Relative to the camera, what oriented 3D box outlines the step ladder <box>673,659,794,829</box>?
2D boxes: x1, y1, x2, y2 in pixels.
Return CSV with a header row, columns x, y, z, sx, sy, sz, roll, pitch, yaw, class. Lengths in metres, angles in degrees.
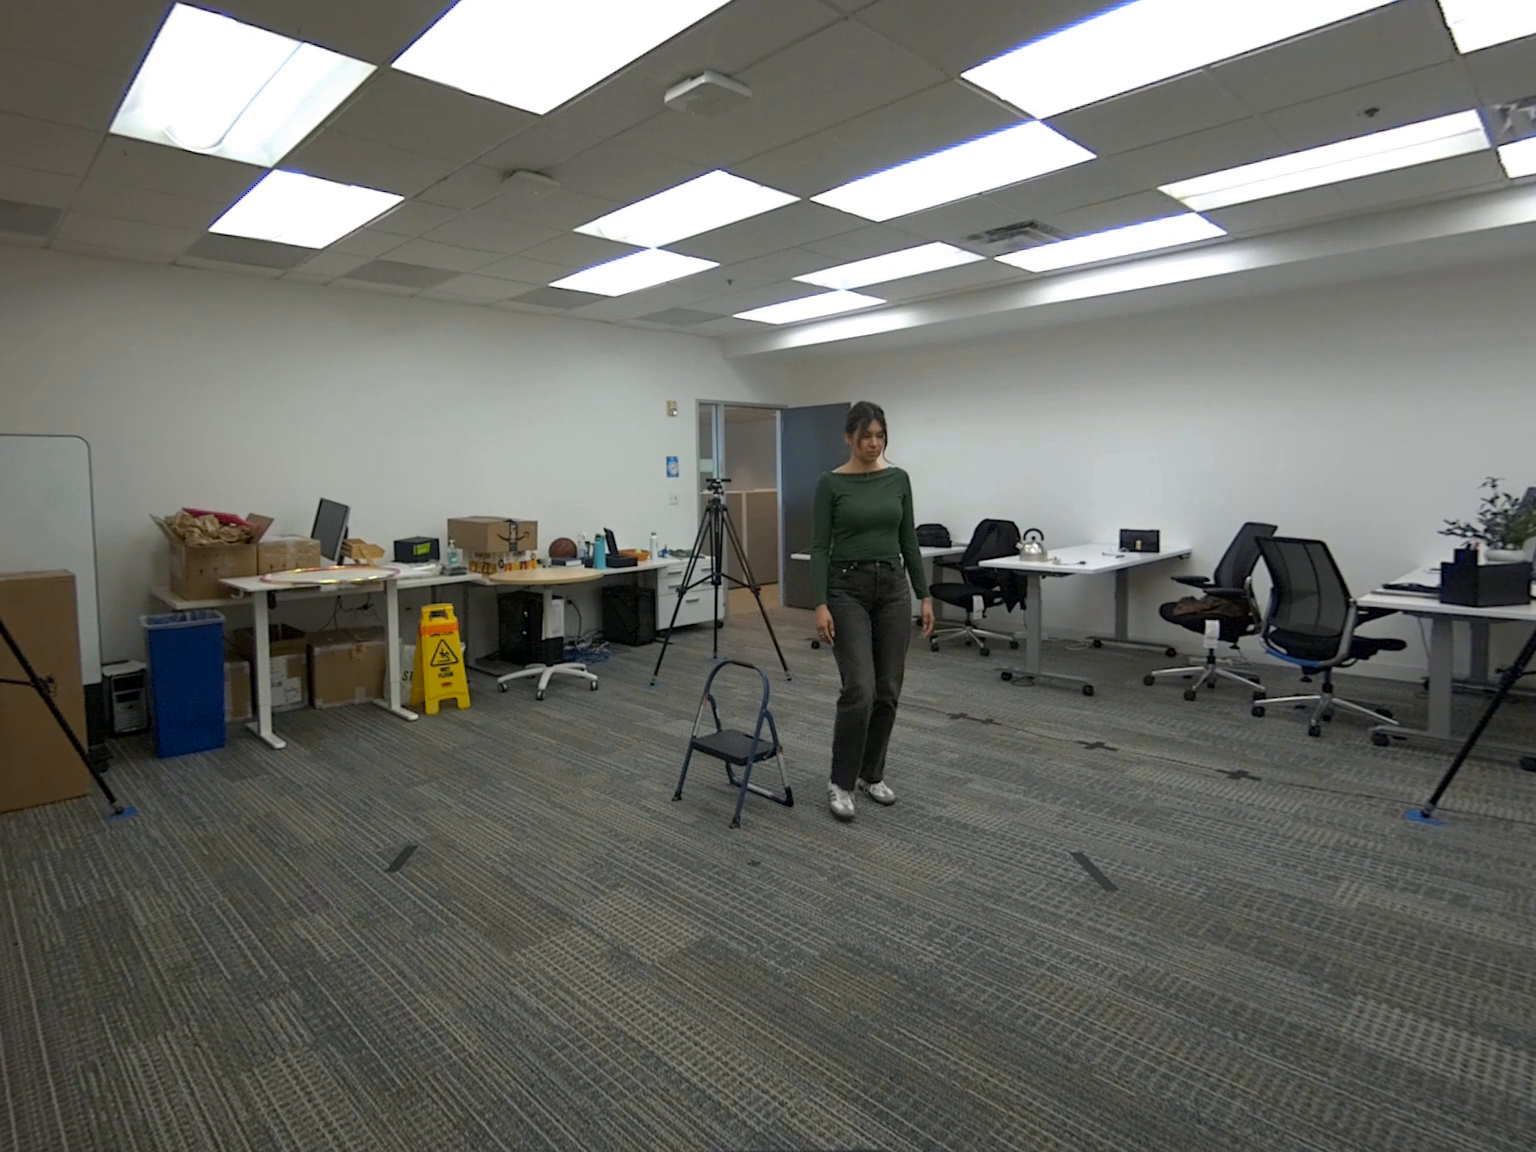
x,y,z,sx,sy,sz,roll,pitch,yaw,class
-0.156,0.680,3.667,0.340,0.604,0.444,-4,6,-41,step ladder
